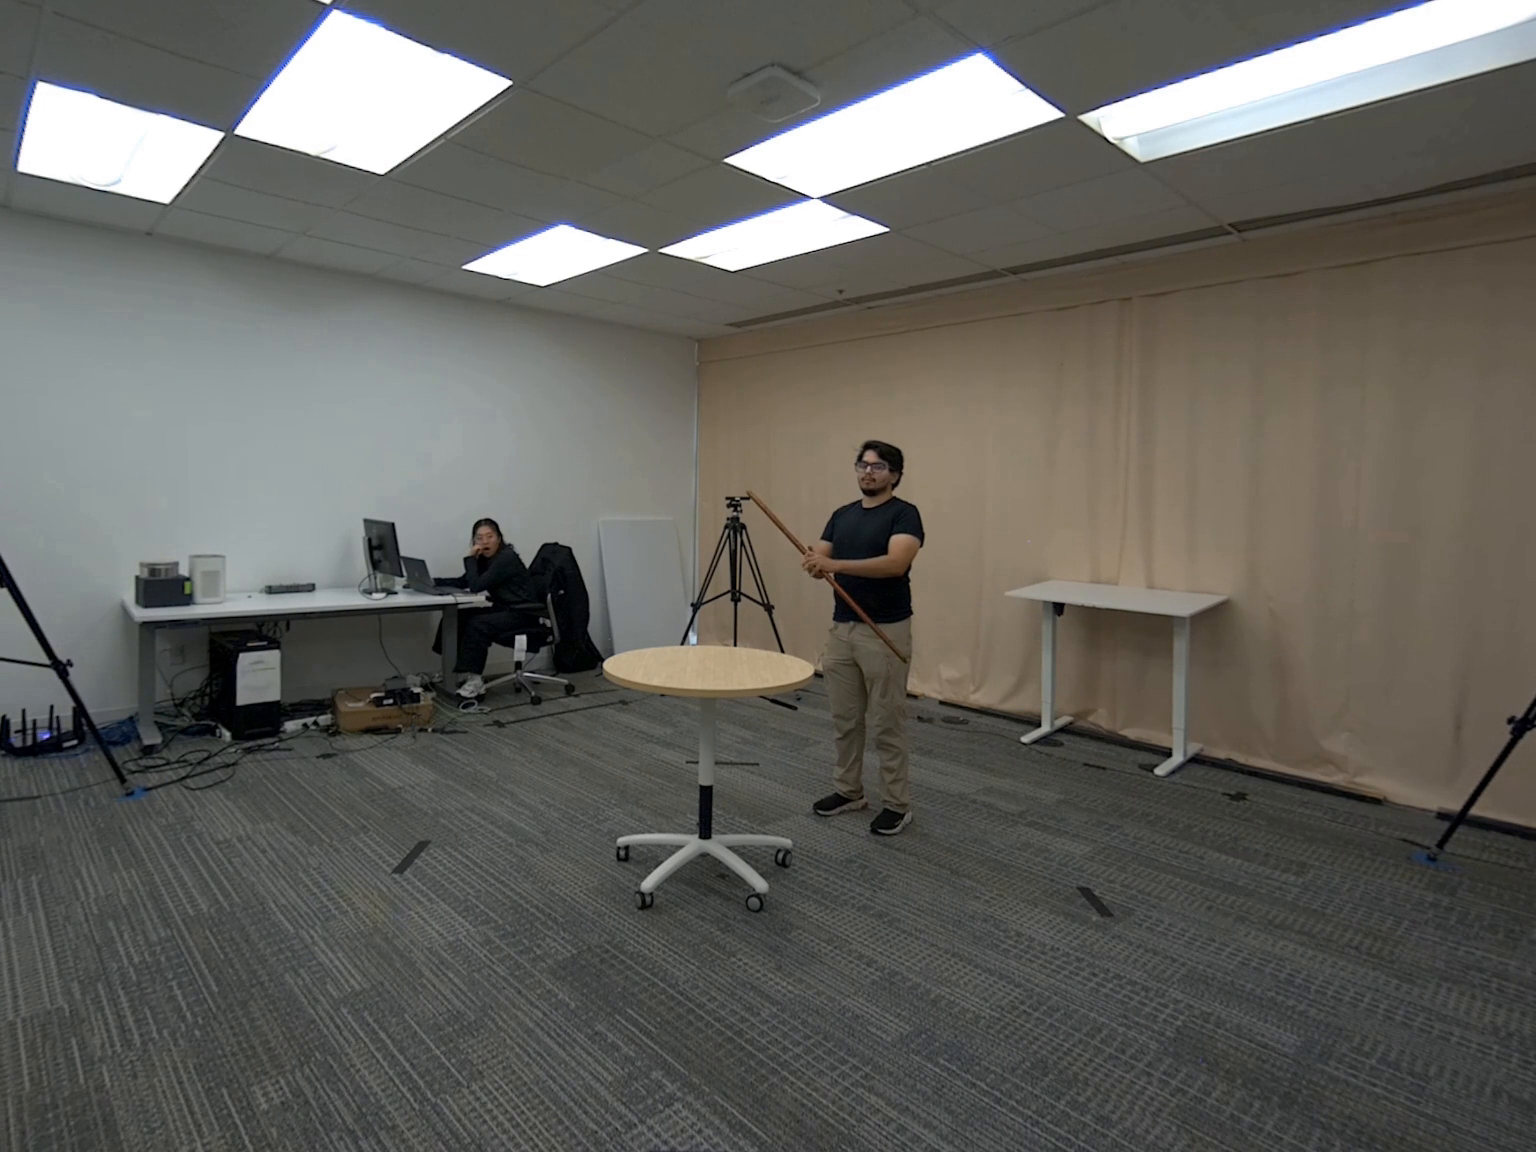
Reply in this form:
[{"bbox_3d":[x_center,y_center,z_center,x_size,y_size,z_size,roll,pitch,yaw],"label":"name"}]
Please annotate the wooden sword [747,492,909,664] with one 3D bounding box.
[{"bbox_3d":[0.229,-0.021,3.445,0.050,0.024,1.053,-3,45,-48],"label":"wooden sword"}]
